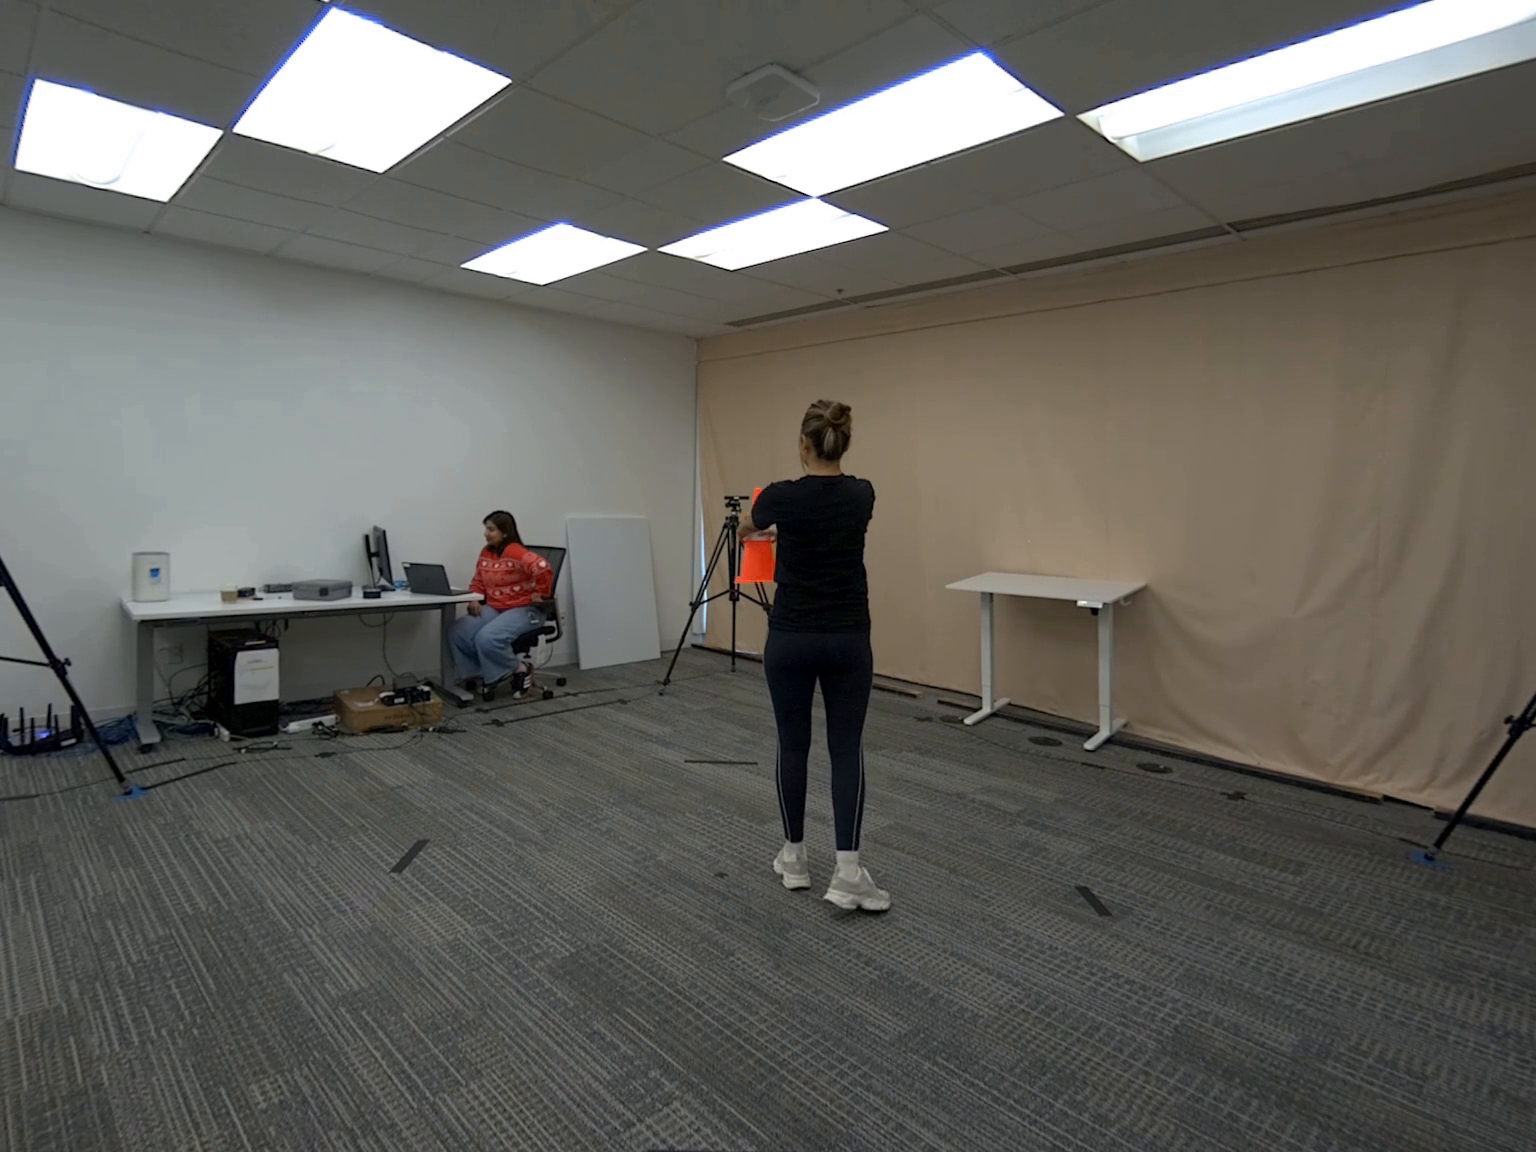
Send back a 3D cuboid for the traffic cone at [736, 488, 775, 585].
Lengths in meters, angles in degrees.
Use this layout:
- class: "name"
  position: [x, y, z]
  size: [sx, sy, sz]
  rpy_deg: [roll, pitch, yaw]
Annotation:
- class: "traffic cone"
  position: [-0.042, -0.175, 3.510]
  size: [0.201, 0.382, 0.208]
  rpy_deg: [-2, 6, -27]
